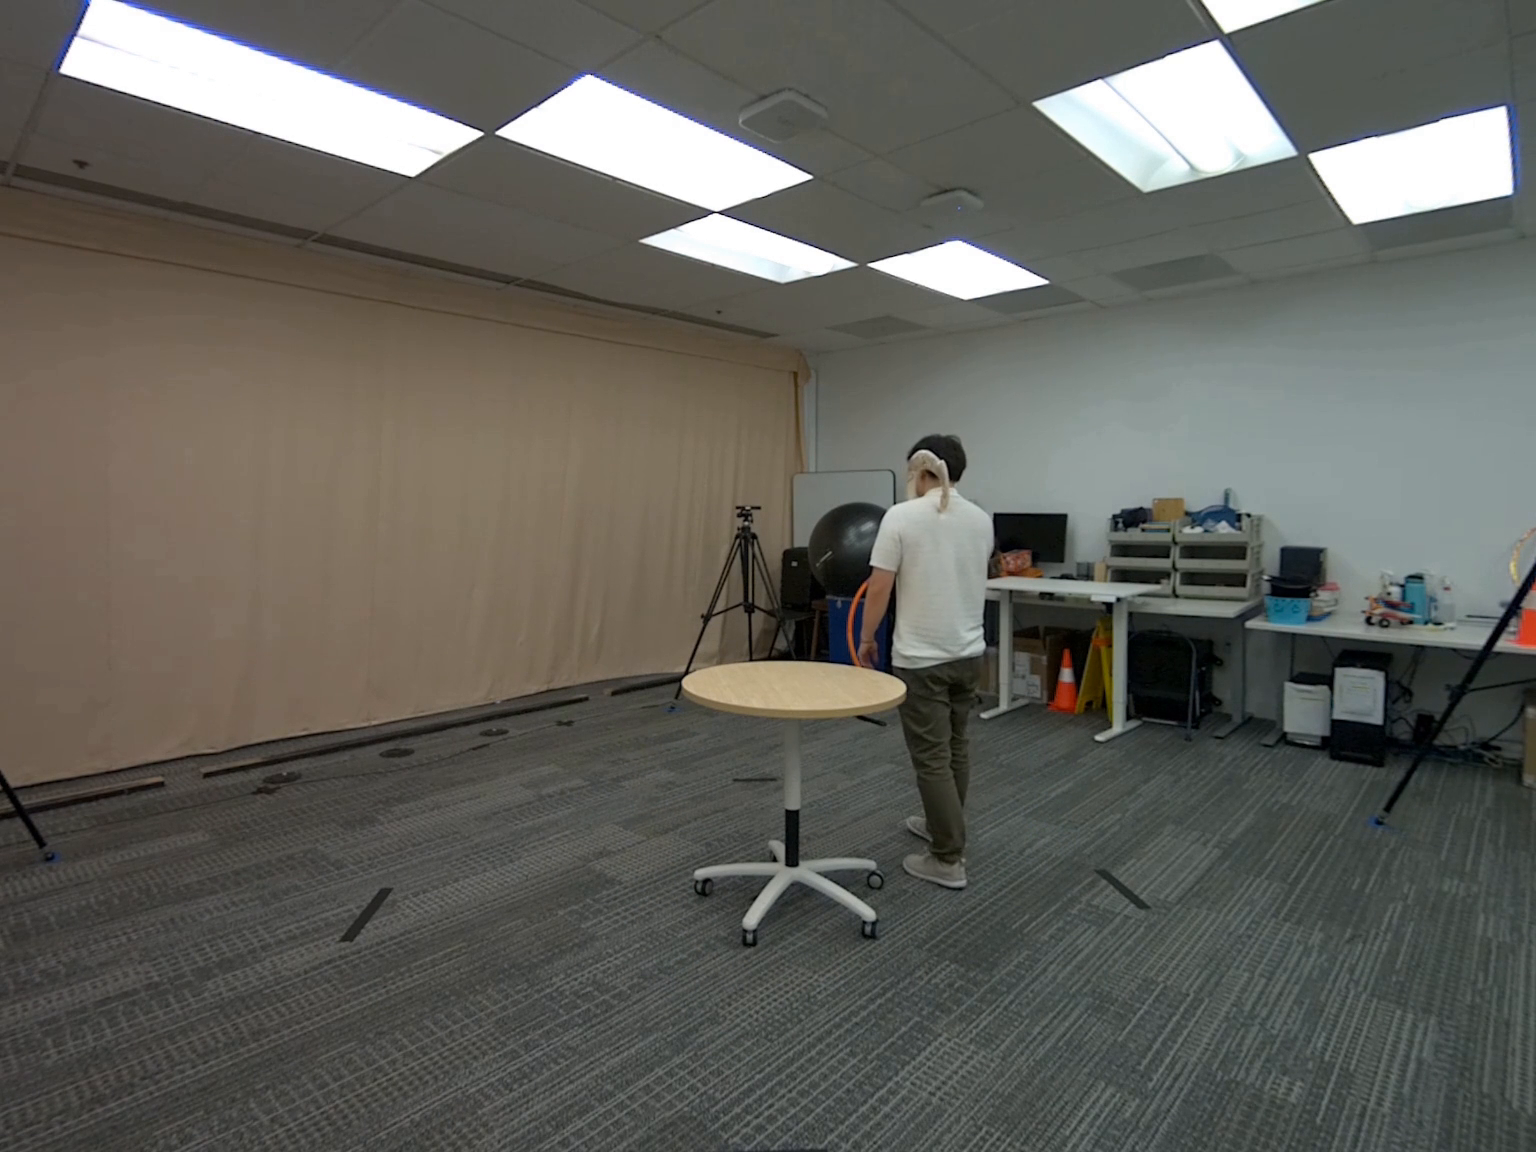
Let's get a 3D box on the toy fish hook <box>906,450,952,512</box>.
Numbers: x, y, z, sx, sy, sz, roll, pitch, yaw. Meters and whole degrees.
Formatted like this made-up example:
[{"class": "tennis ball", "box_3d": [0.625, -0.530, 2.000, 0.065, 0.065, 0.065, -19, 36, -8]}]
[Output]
[{"class": "toy fish hook", "box_3d": [0.590, -0.239, 3.239, 0.047, 0.499, 0.232, -13, 41, -23]}]
